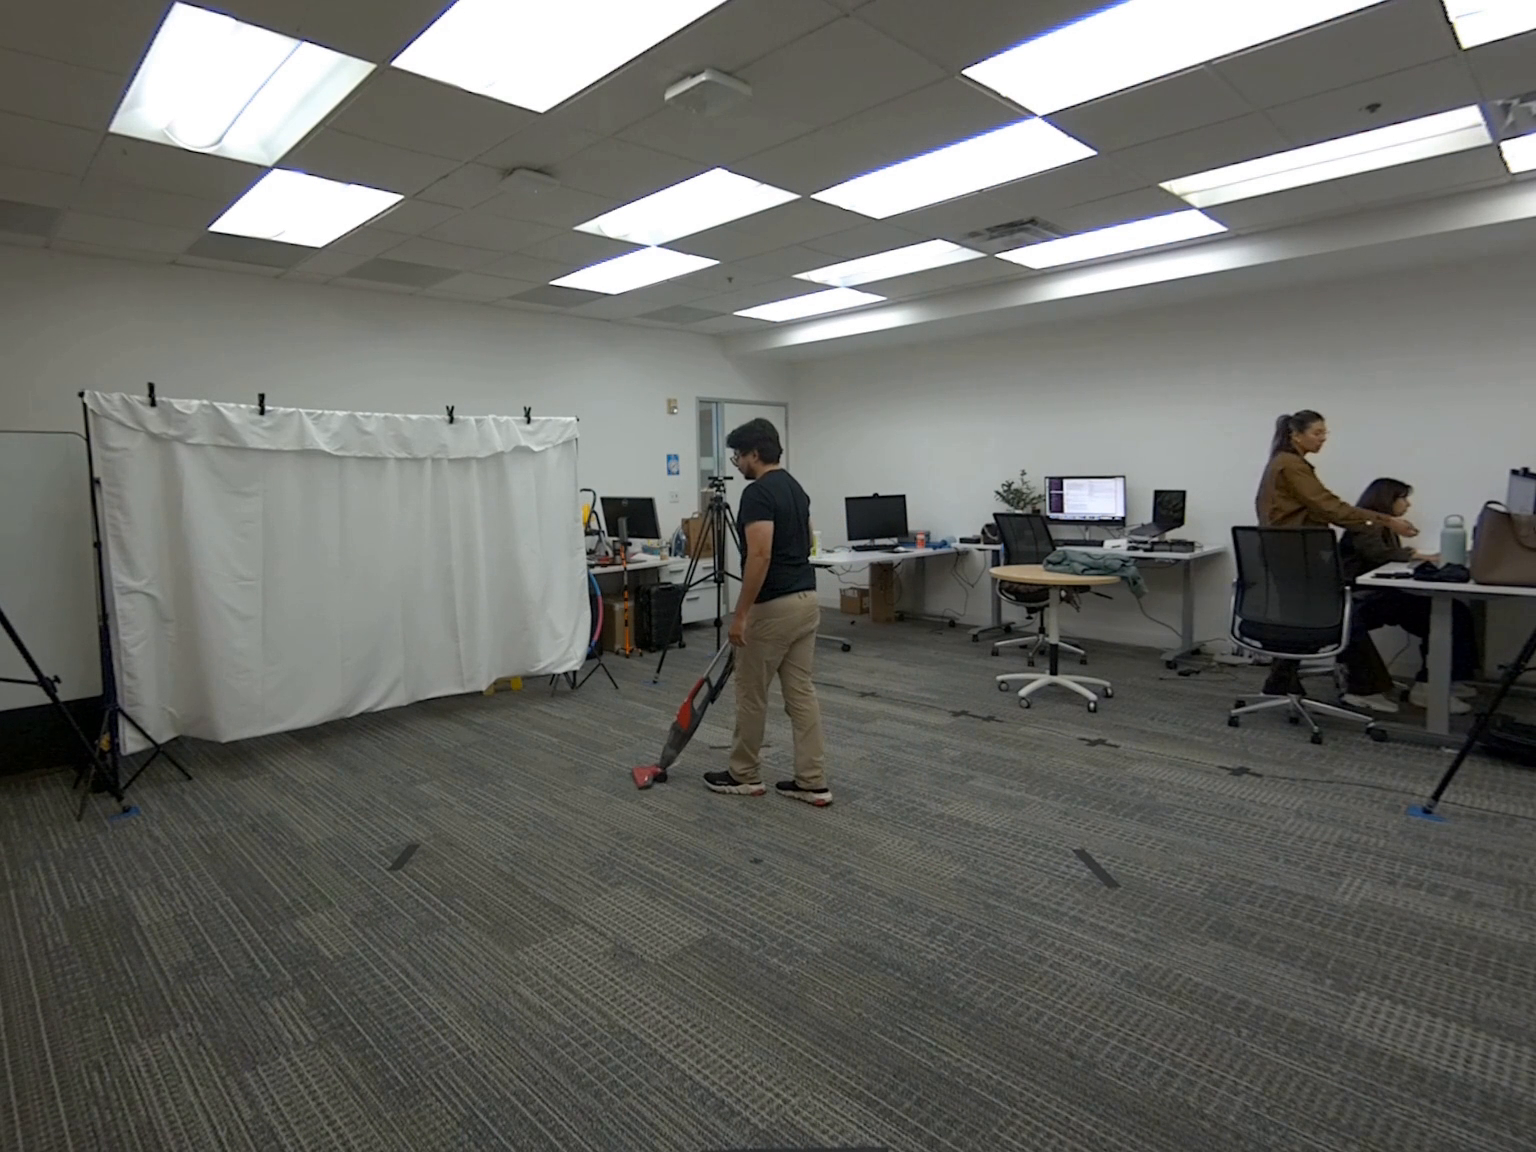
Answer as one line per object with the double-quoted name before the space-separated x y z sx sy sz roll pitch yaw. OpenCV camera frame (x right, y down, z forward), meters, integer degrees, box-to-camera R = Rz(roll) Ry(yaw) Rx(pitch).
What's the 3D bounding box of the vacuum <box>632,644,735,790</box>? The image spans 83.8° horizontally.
"vacuum" -0.264 0.503 4.033 0.141 1.051 0.257 35 -7 -16
